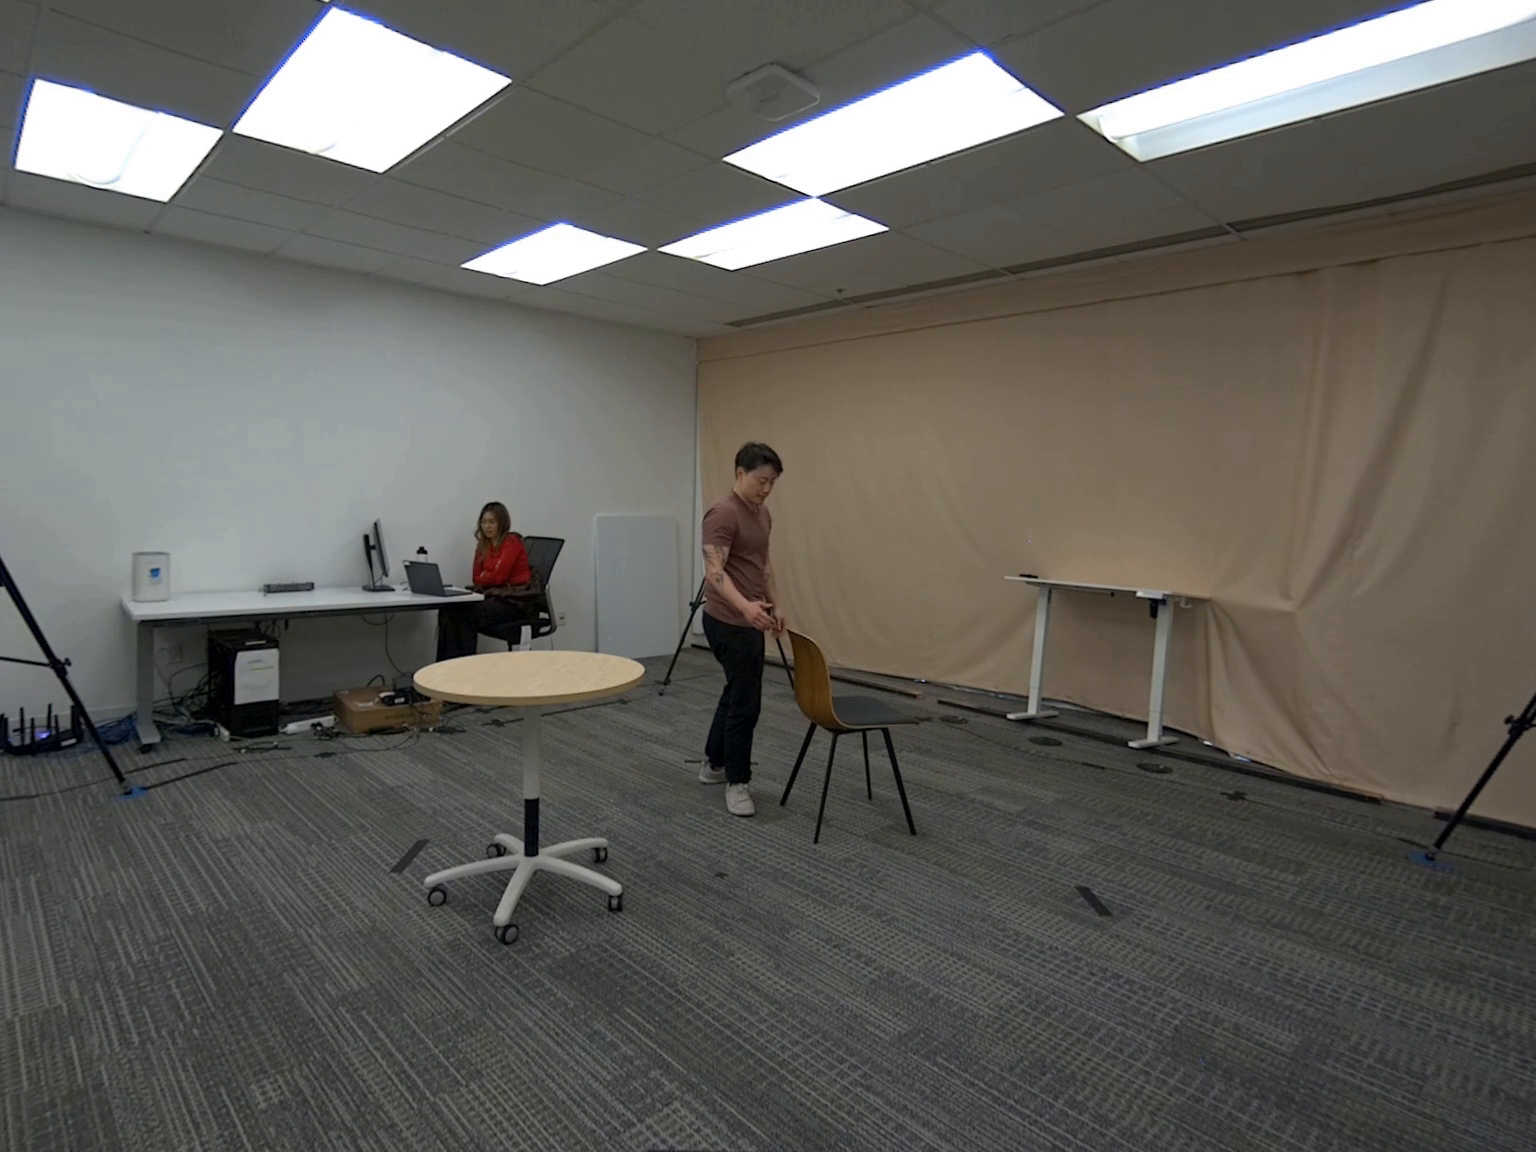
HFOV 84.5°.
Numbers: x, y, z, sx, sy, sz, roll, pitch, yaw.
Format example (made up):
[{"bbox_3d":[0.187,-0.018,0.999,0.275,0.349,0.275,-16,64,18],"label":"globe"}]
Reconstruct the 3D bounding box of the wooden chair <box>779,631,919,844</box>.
[{"bbox_3d":[0.348,0.641,3.652,0.517,0.875,0.485,-3,4,-17],"label":"wooden chair"}]
